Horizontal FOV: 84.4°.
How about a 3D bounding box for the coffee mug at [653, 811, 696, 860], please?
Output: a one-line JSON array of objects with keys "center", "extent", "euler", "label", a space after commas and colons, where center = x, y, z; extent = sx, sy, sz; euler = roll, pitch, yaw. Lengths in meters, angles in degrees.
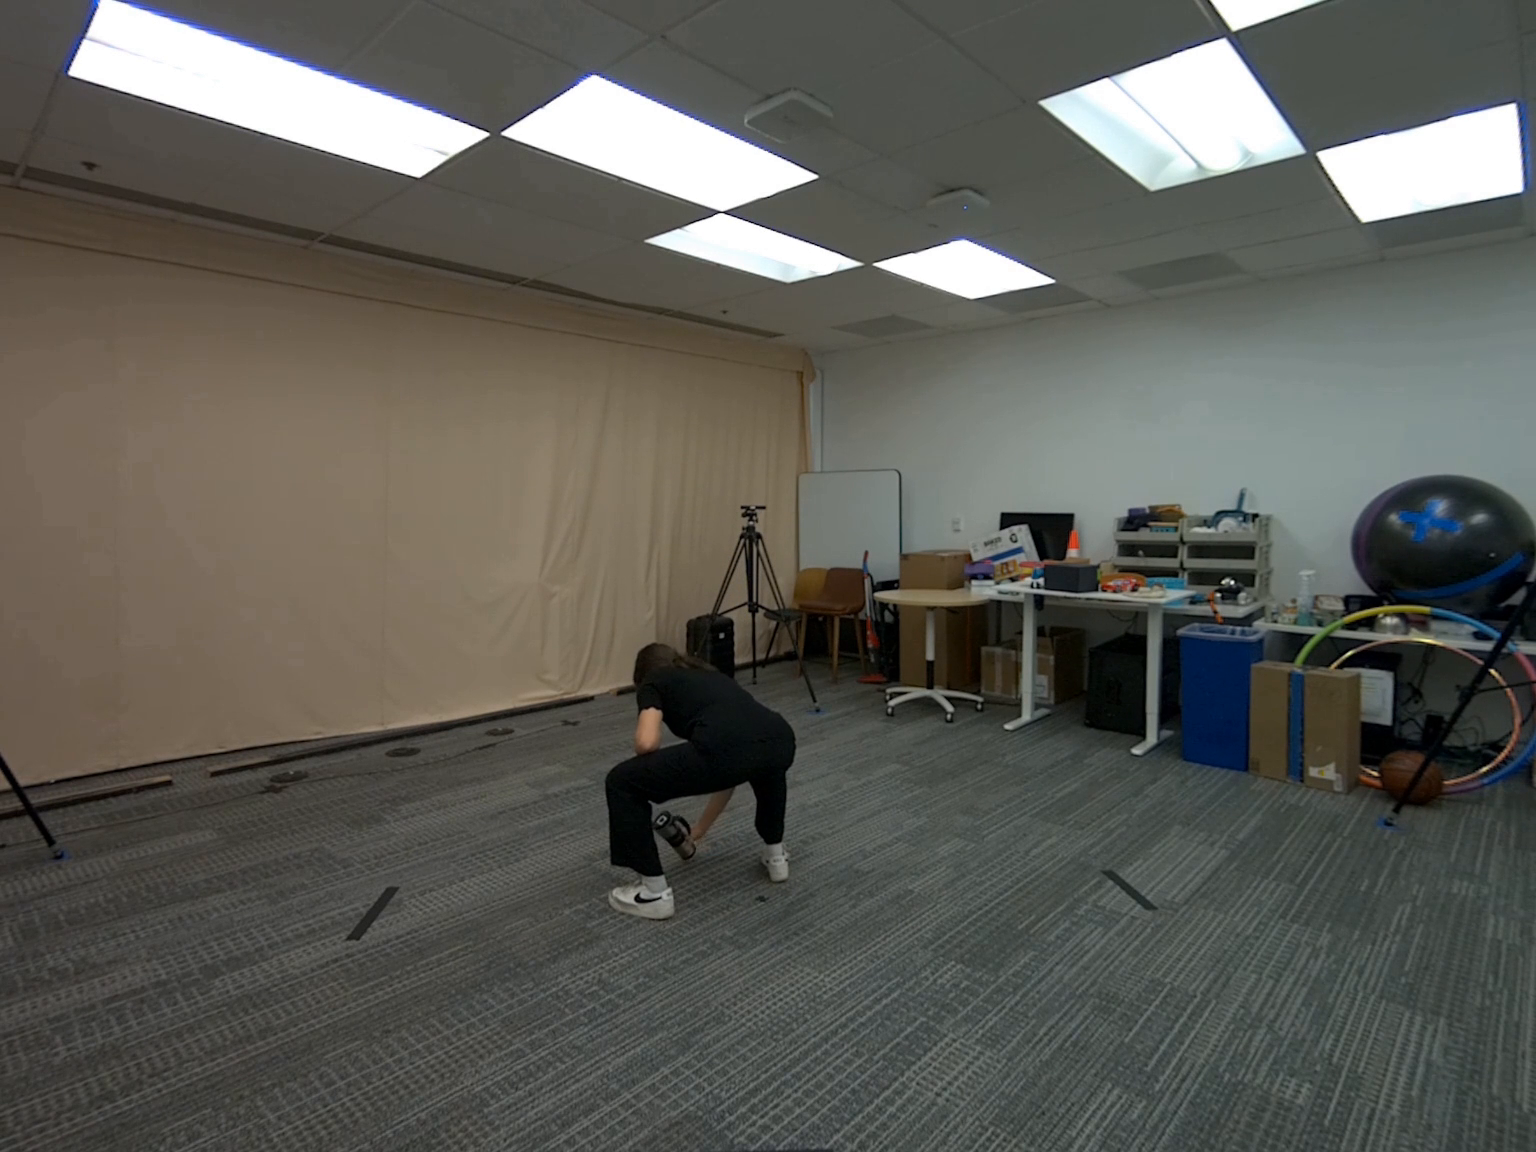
[{"center": [-0.341, 0.994, 3.241], "extent": [0.125, 0.200, 0.087], "euler": [-16, 21, 43], "label": "coffee mug"}]
